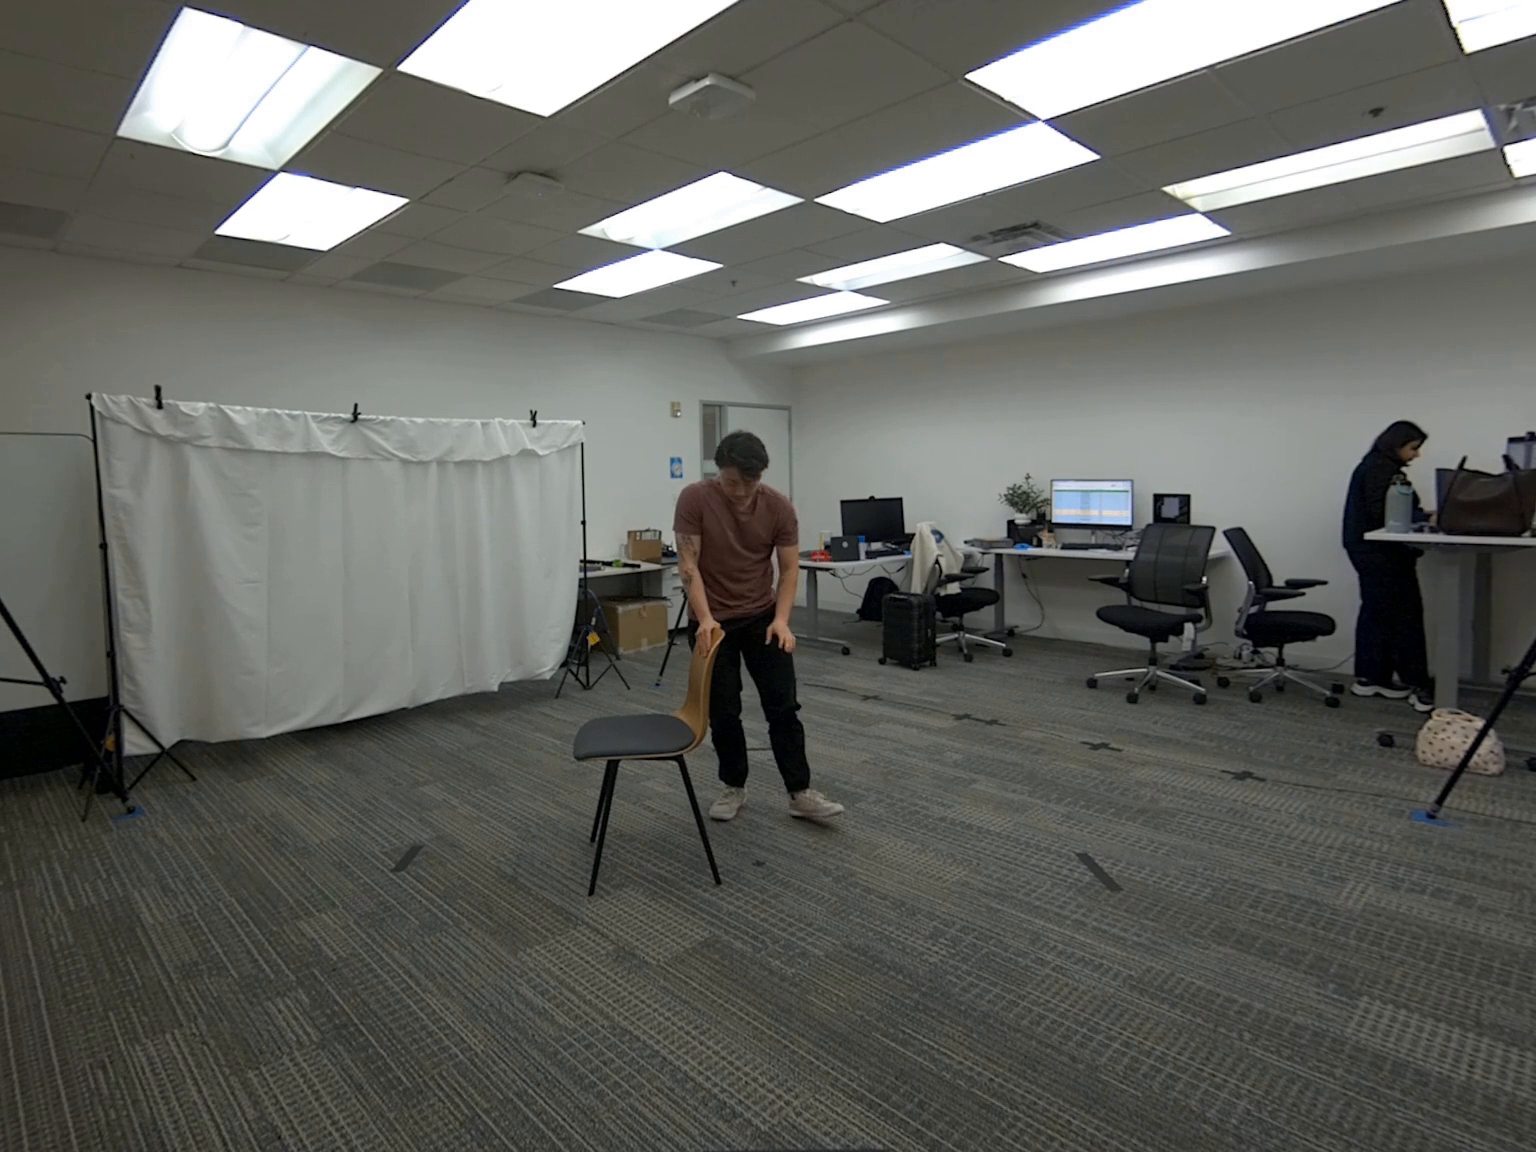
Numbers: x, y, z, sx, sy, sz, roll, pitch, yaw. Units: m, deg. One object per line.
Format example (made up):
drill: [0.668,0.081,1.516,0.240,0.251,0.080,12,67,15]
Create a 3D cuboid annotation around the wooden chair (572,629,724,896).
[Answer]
wooden chair: [-0.441,0.629,3.101,0.518,0.874,0.484,2,5,-10]
